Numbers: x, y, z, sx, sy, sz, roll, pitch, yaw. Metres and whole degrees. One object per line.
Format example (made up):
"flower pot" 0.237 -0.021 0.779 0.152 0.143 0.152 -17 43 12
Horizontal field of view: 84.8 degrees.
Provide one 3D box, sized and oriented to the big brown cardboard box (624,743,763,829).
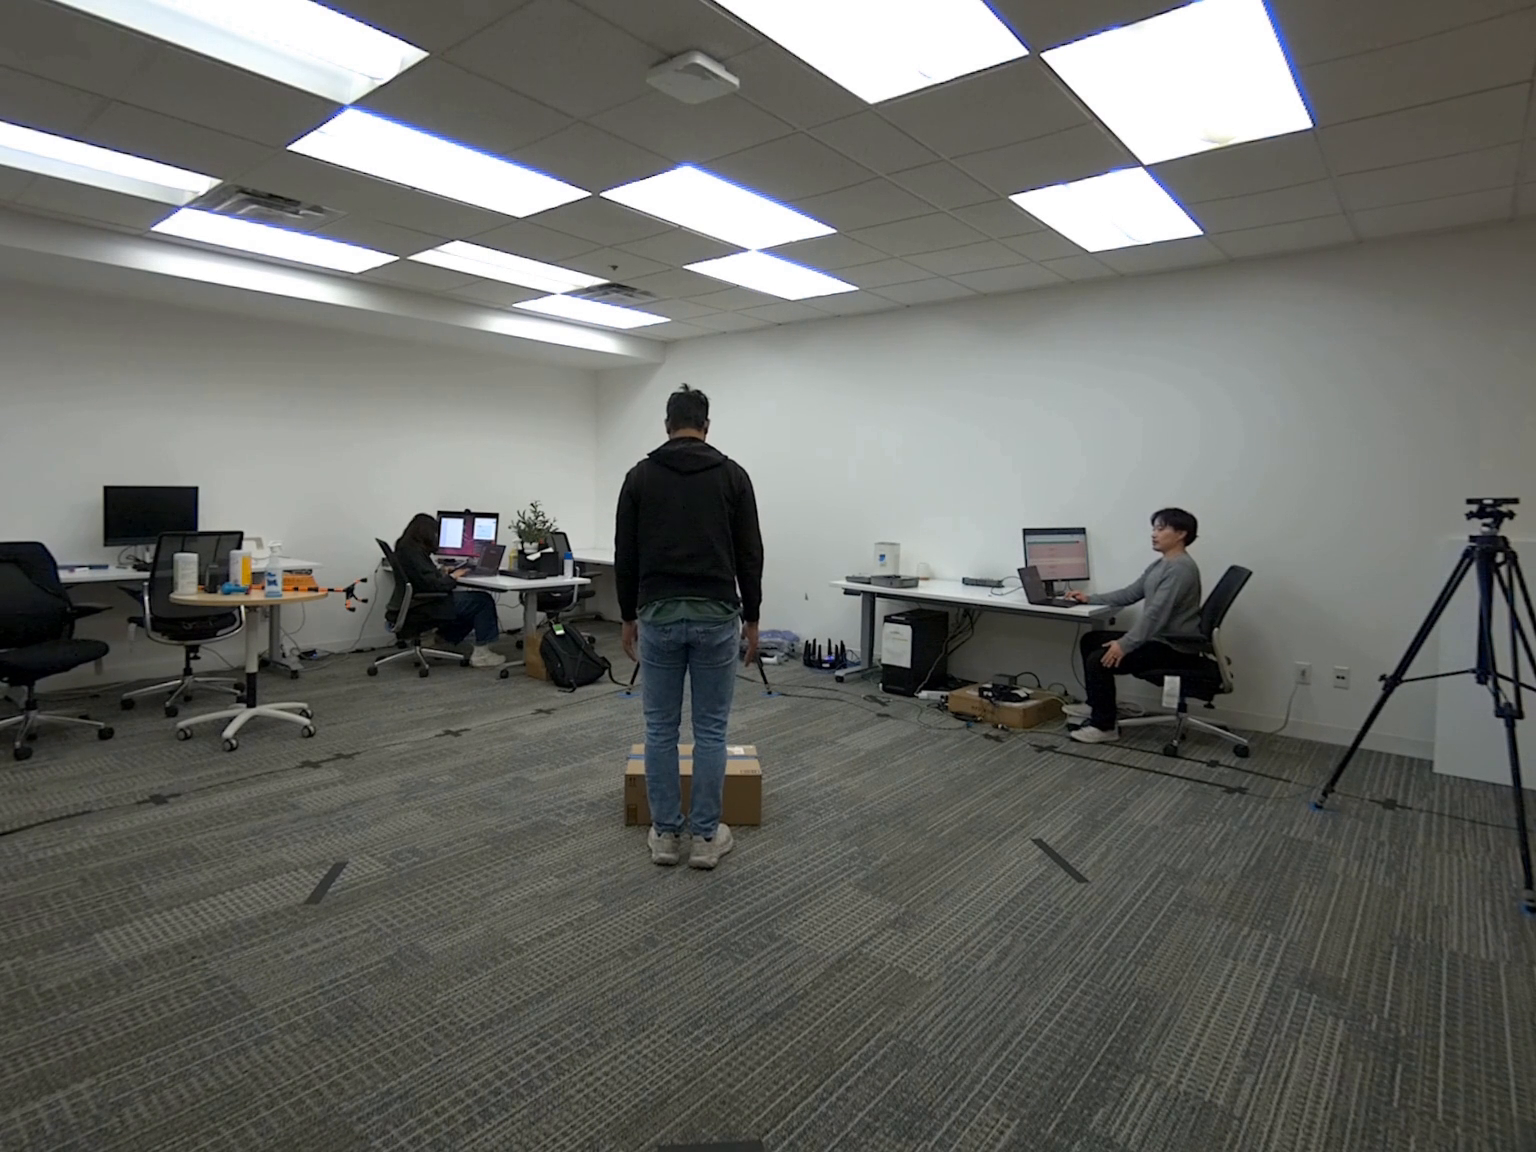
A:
"big brown cardboard box" -0.331 0.893 3.701 0.587 0.232 0.421 0 5 -4
